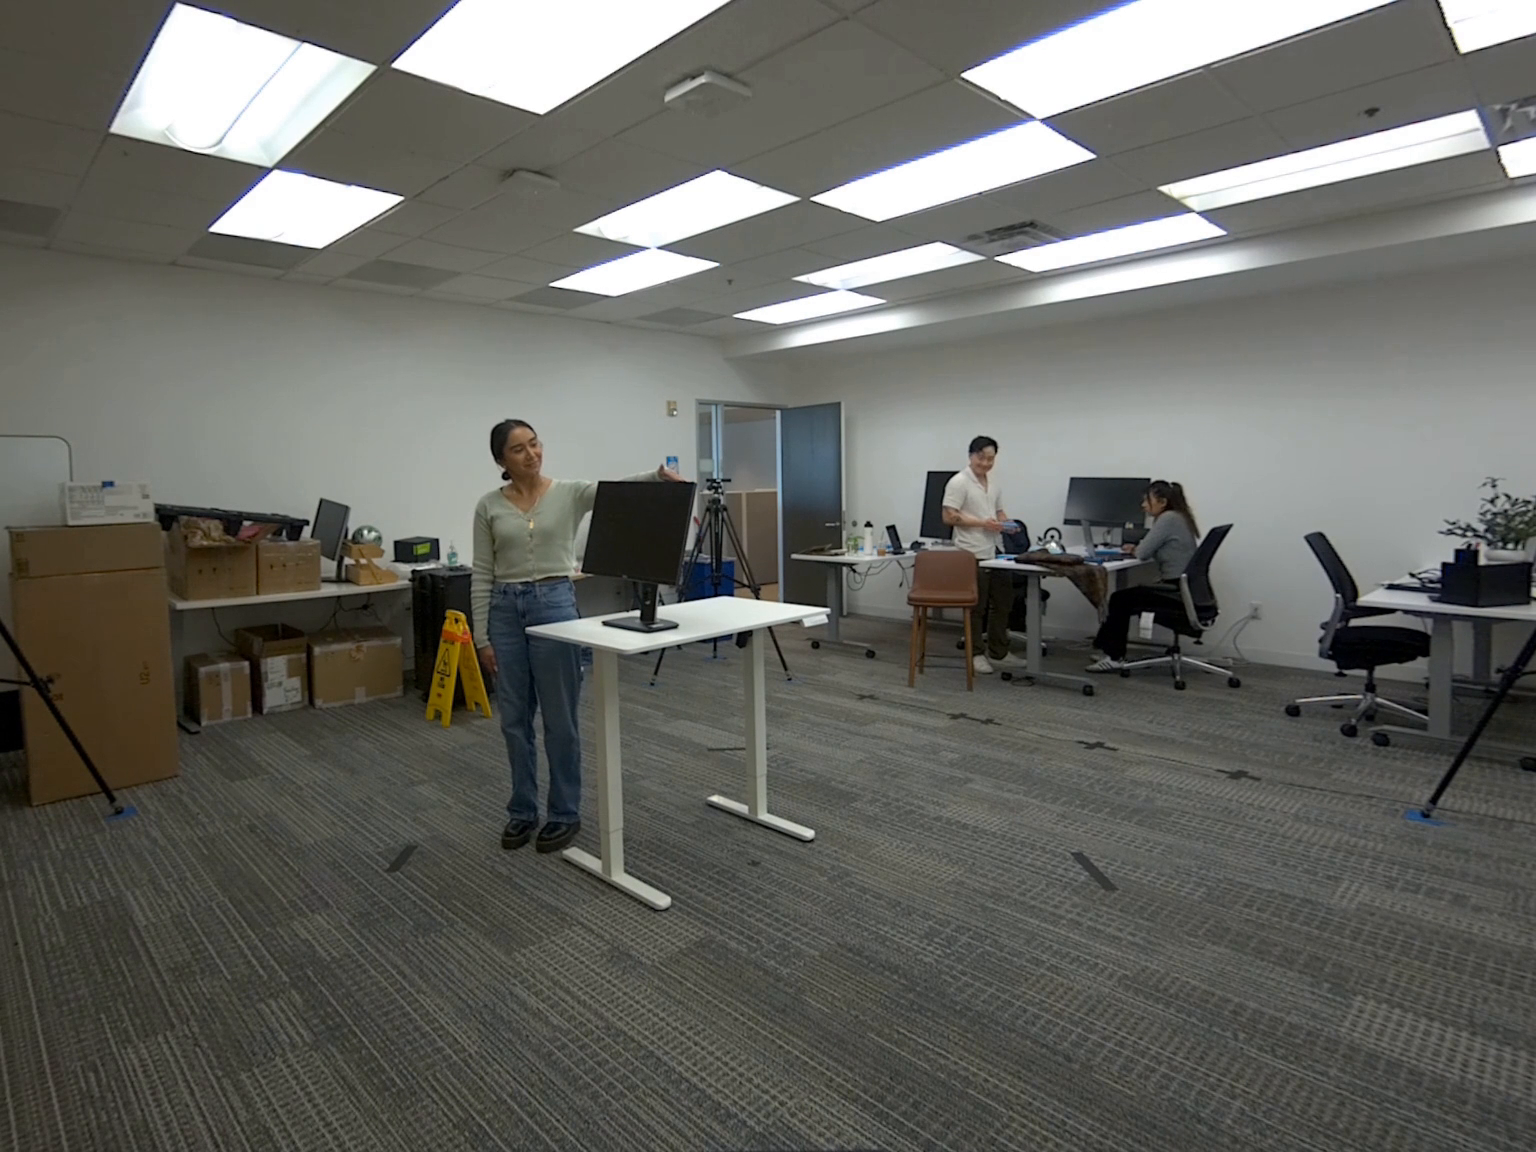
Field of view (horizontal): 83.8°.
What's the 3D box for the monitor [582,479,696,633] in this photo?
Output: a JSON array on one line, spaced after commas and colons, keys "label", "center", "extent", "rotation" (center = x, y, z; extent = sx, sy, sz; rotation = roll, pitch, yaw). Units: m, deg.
[{"label": "monitor", "center": [-0.445, -0.072, 3.031], "extent": [0.556, 0.521, 0.182], "rotation": [4, 4, 42]}]
